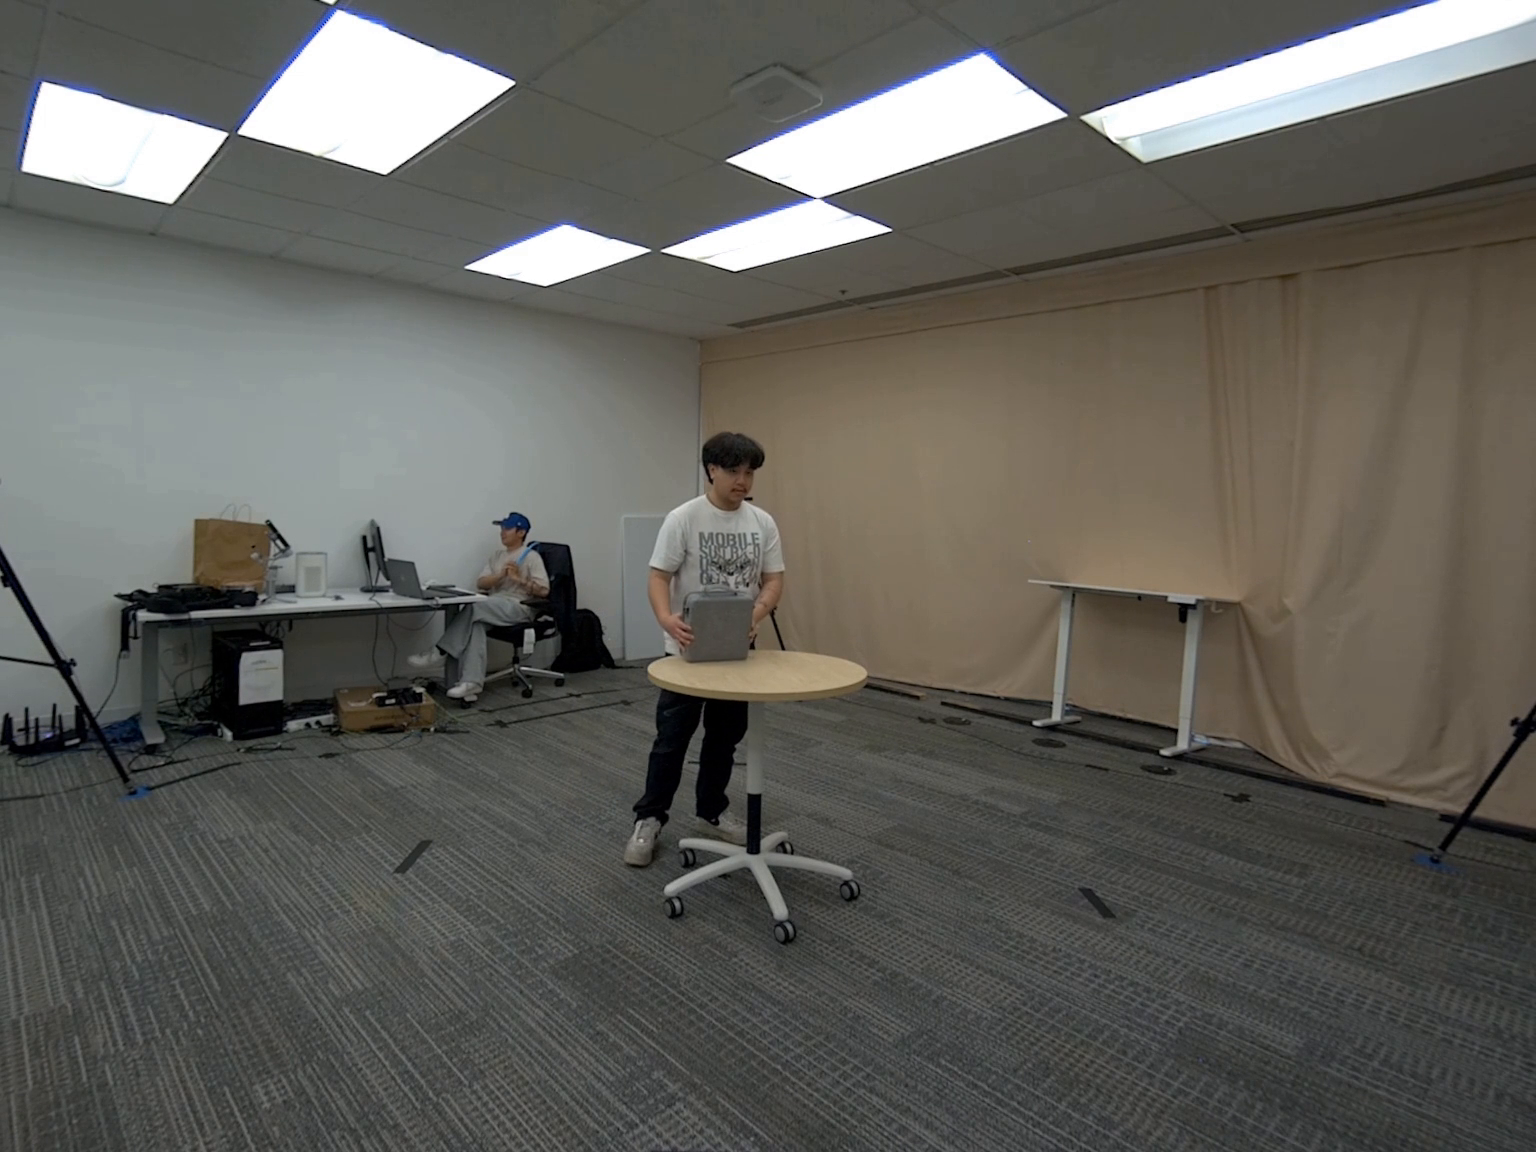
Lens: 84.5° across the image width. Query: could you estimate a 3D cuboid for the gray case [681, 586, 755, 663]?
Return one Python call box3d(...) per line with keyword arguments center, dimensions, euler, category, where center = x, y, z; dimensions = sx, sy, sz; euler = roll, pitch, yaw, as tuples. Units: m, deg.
box3d(center=(-0.200, 0.178, 3.078), dimensions=(0.253, 0.258, 0.107), euler=(-1, 16, -21), category="gray case")
